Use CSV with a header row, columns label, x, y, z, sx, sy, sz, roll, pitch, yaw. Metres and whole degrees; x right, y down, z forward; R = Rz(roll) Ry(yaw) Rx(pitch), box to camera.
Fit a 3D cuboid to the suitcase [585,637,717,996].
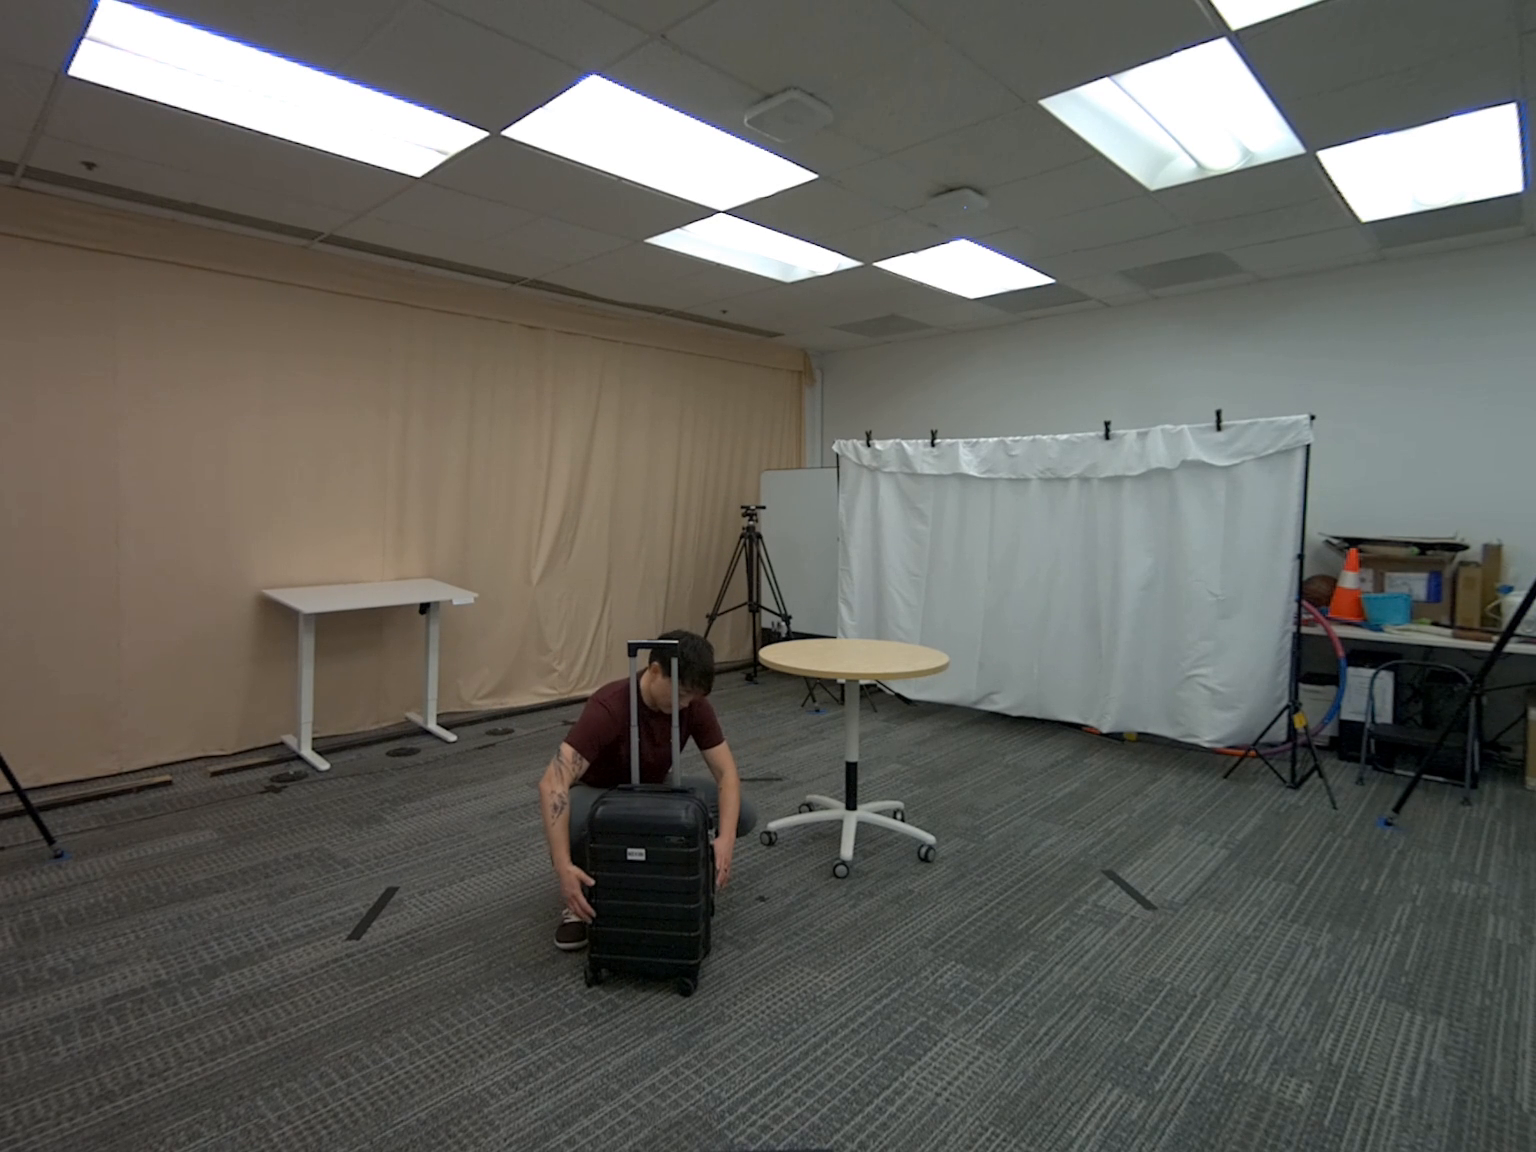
label,x,y,z,sx,sy,sz,roll,pitch,yaw
suitcase,-0.350,0.706,2.493,0.388,0.976,0.255,1,4,10
